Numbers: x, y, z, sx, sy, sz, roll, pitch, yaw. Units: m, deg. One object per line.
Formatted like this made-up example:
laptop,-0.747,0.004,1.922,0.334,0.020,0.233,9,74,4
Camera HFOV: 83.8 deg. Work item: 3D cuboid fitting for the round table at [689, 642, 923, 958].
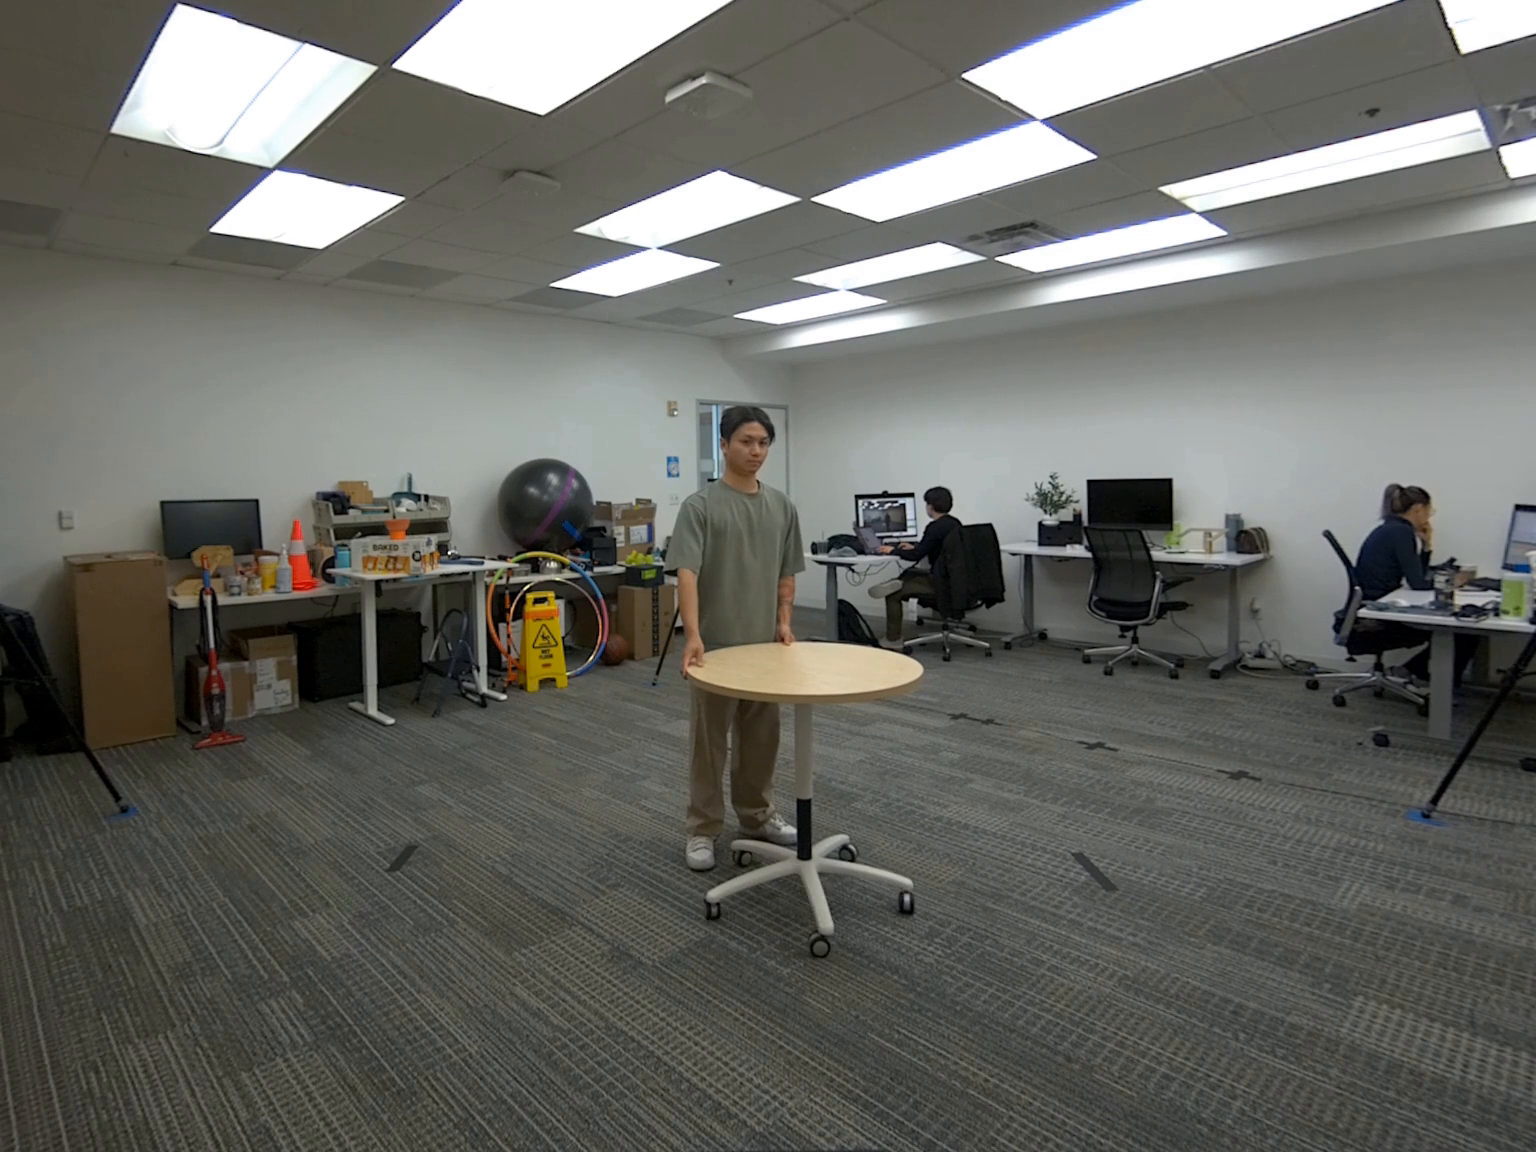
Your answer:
round table,0.106,0.679,2.813,0.784,0.783,0.789,0,5,-2
